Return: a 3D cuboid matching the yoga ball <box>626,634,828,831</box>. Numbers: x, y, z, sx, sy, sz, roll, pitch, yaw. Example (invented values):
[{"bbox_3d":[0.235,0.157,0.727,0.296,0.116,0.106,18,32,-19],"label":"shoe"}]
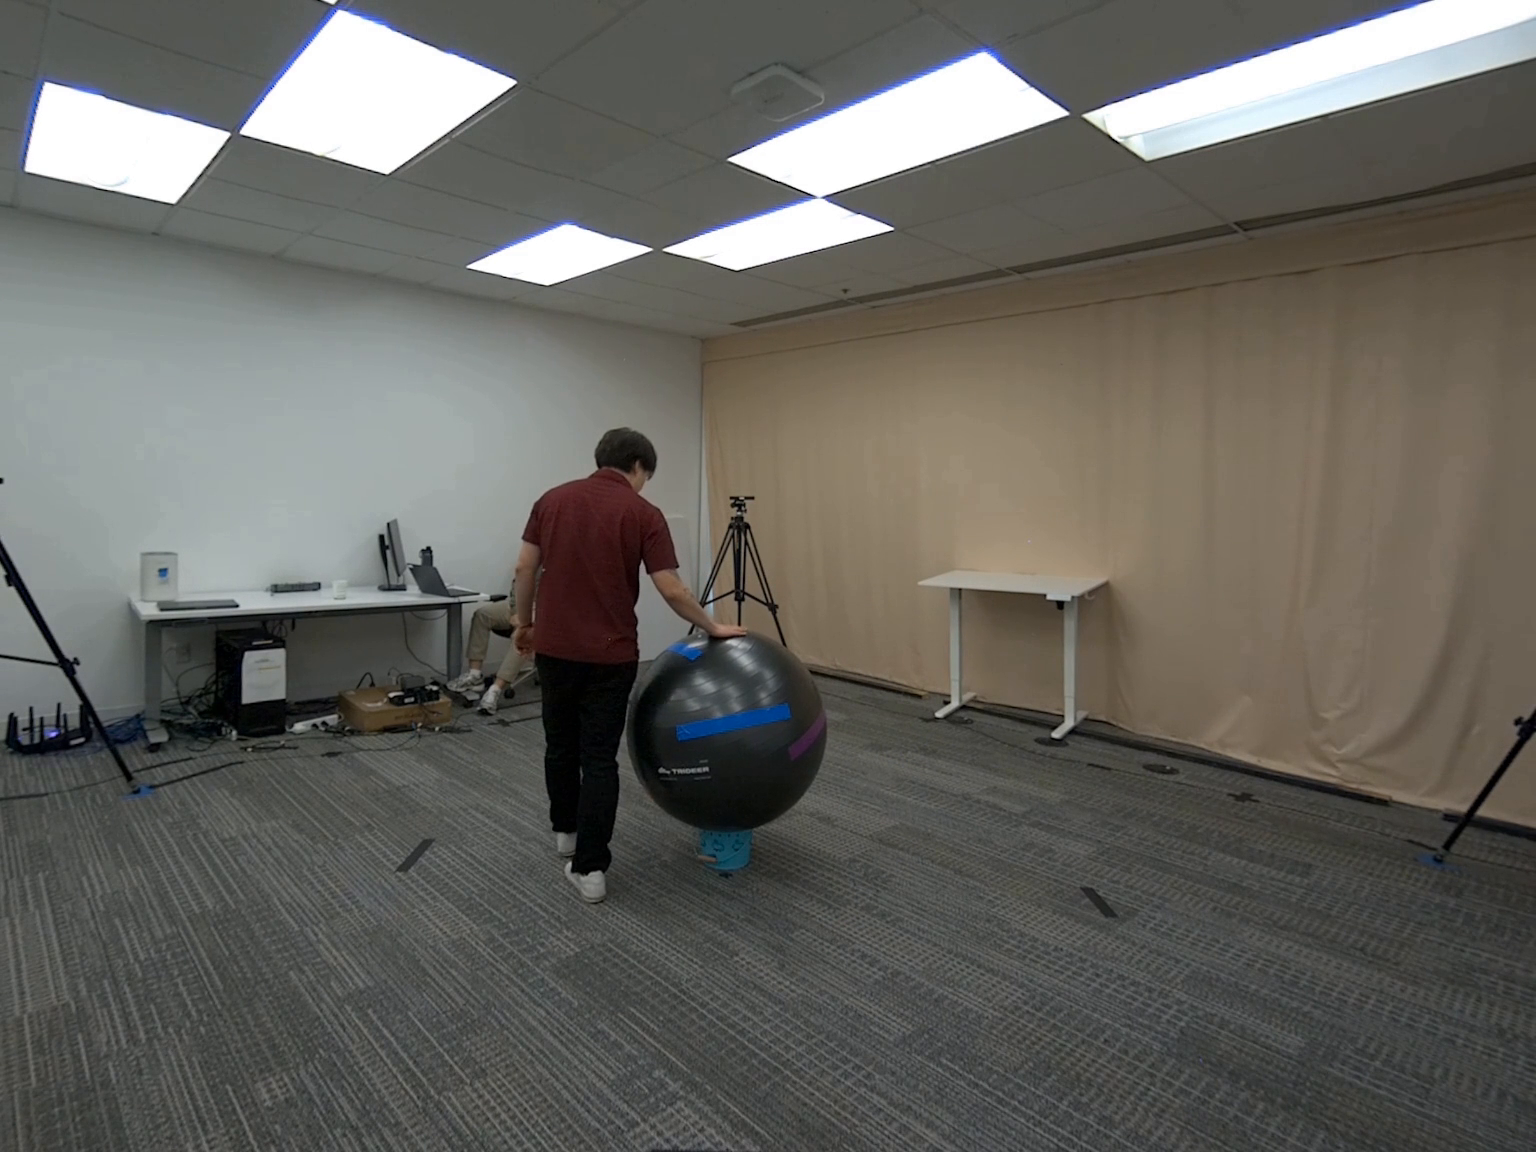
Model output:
[{"bbox_3d":[-0.160,0.581,3.211,0.757,0.756,0.761,1,4,-1],"label":"yoga ball"}]
